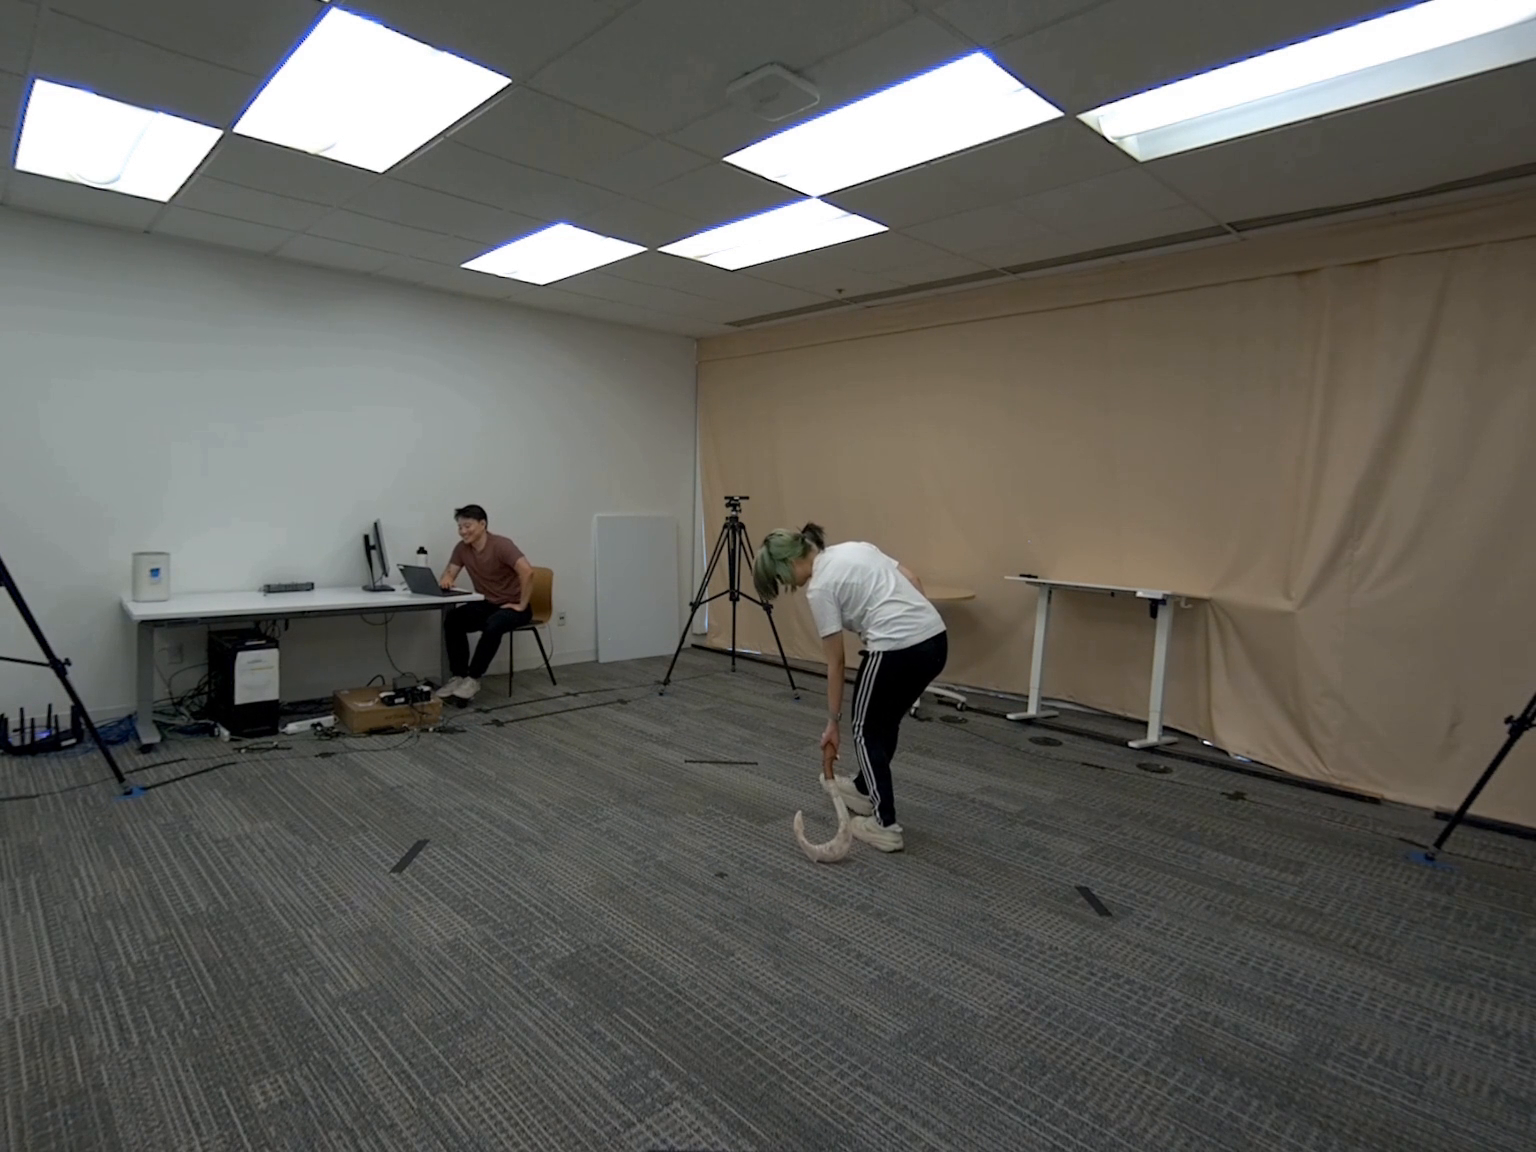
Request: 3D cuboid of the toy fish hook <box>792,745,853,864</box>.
[{"bbox_3d":[0.202,0.870,3.344,0.226,0.517,0.047,-7,-31,8],"label":"toy fish hook"}]
